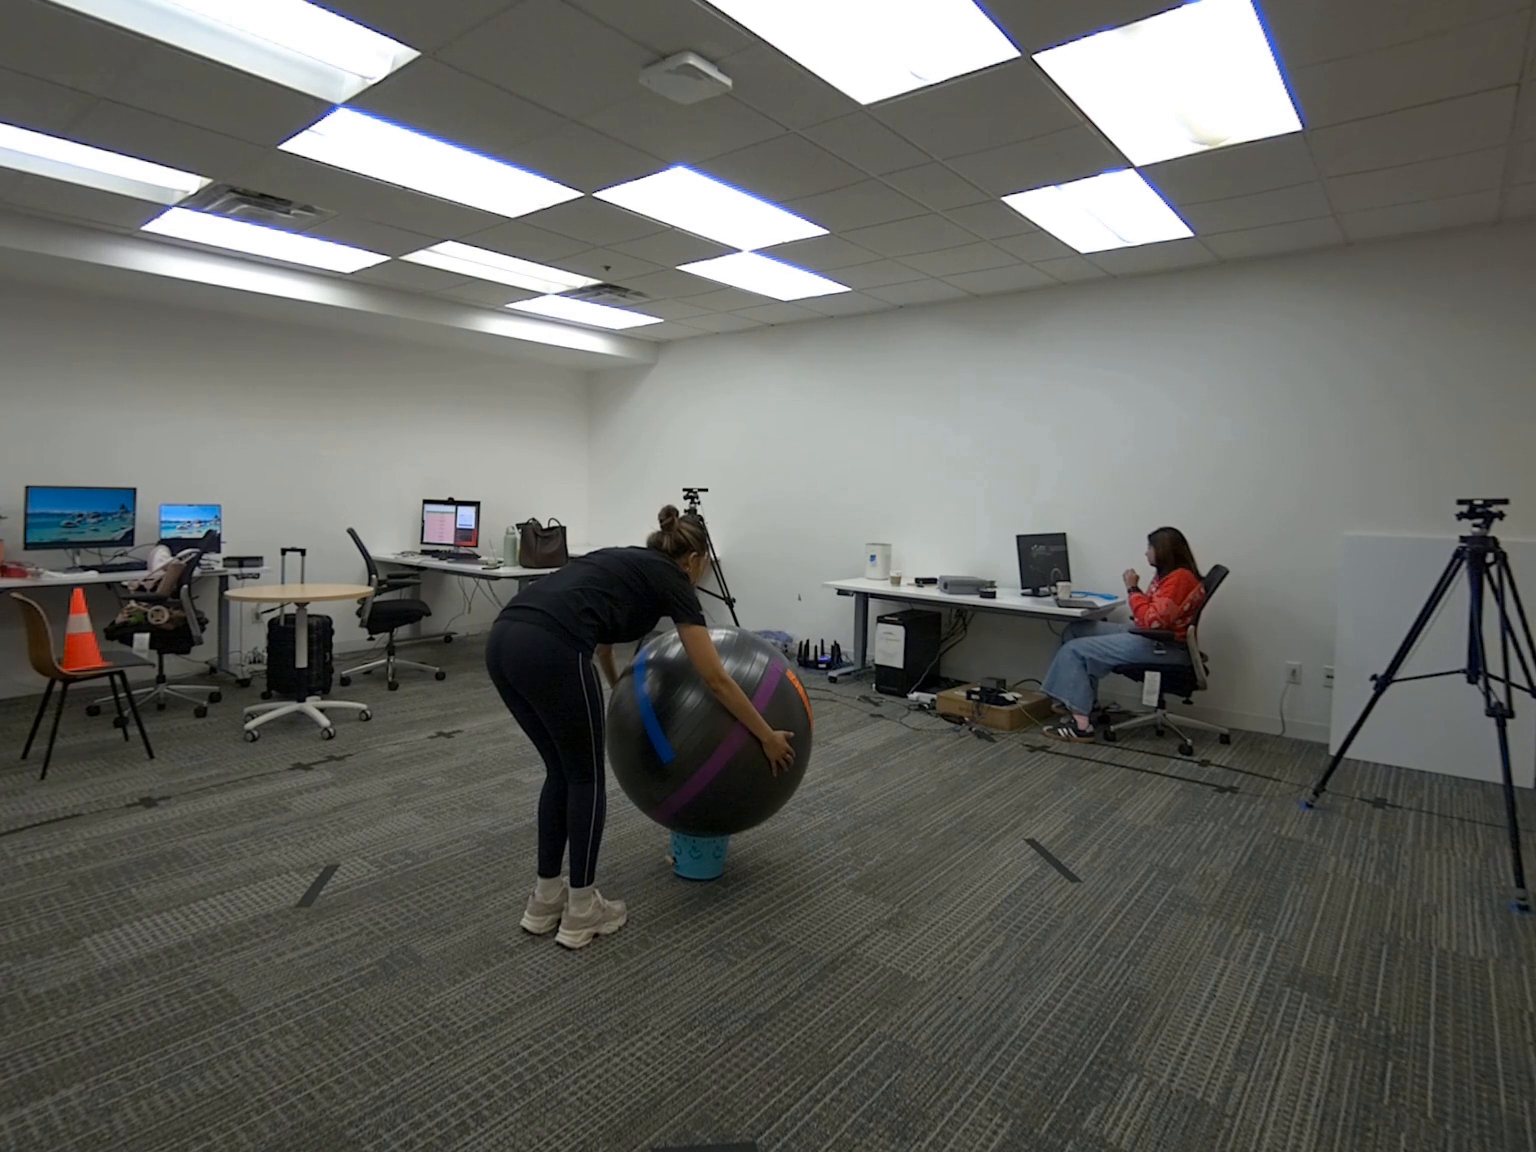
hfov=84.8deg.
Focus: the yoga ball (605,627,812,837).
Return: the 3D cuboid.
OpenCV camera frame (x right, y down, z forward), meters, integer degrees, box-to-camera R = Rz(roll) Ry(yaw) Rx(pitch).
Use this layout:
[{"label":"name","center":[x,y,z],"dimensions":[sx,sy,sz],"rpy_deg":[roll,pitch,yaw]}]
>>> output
[{"label":"yoga ball","center":[-0.225,0.559,3.107],"dimensions":[0.757,0.756,0.762],"rpy_deg":[1,4,-2]}]
